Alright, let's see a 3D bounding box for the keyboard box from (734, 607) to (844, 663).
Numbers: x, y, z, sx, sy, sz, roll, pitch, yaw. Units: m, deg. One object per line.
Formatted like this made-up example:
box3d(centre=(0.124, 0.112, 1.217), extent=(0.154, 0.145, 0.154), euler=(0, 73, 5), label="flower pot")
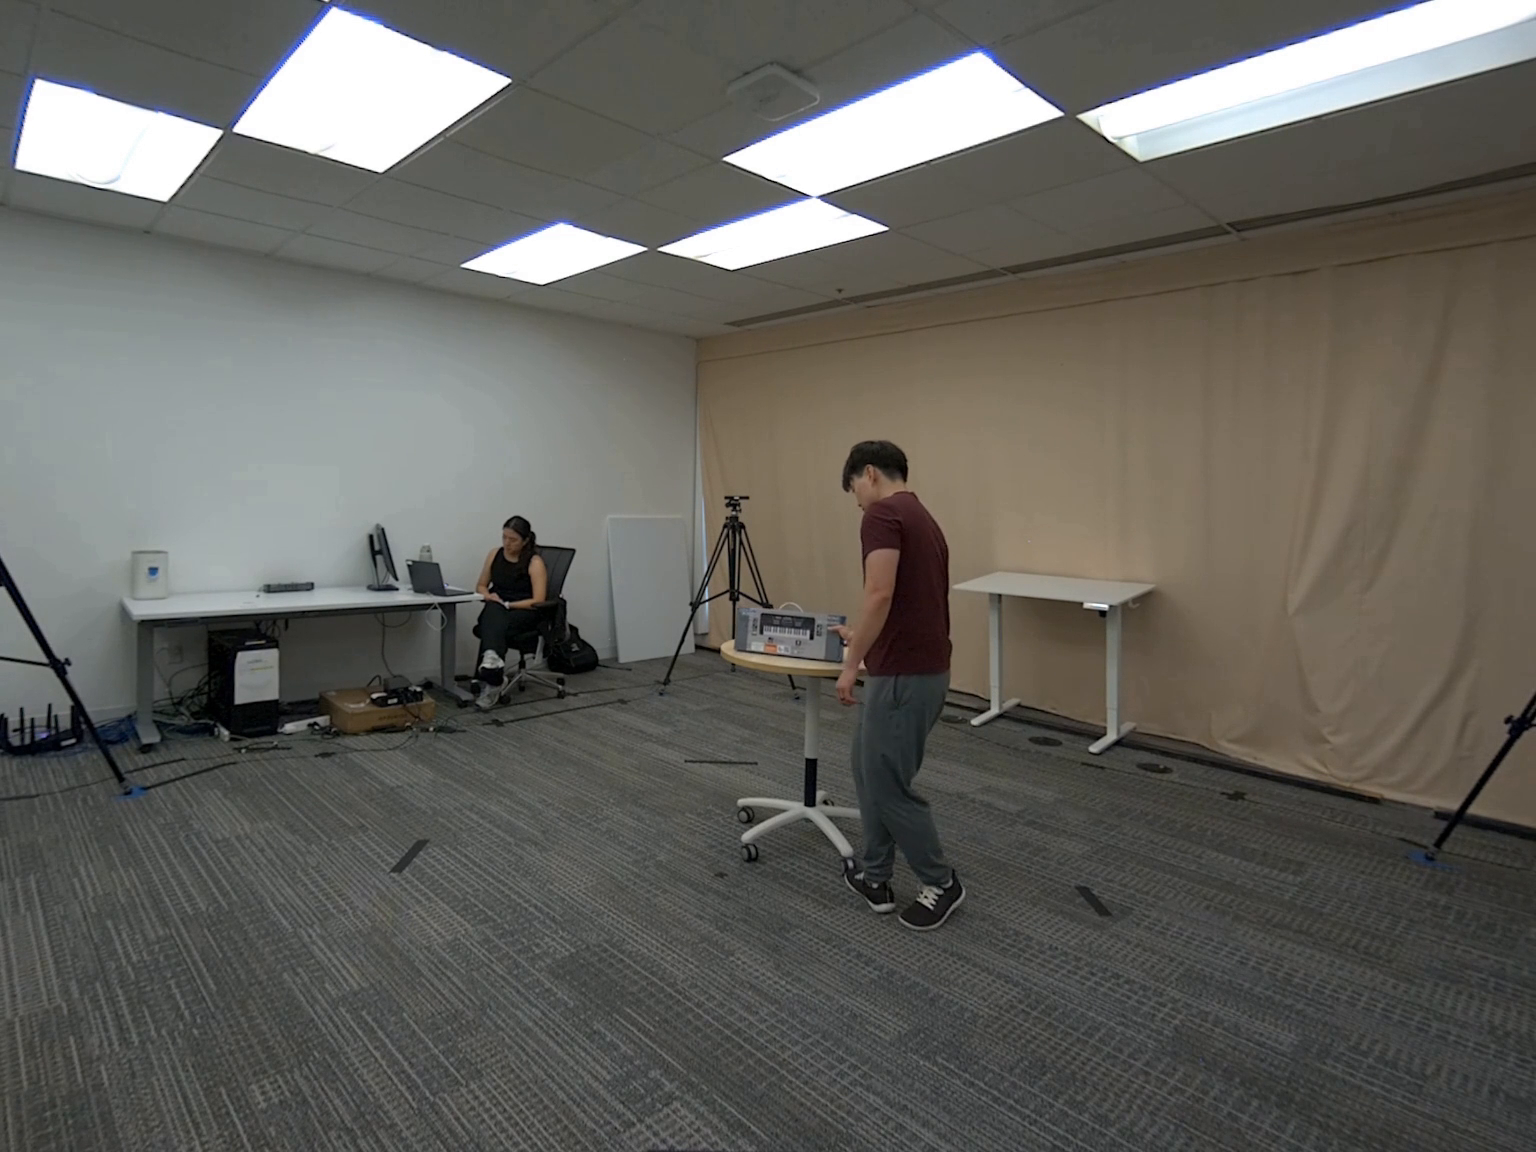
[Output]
box3d(centre=(0.072, 0.225, 3.269), extent=(0.445, 0.176, 0.058), euler=(4, -3, 26), label="keyboard box")
